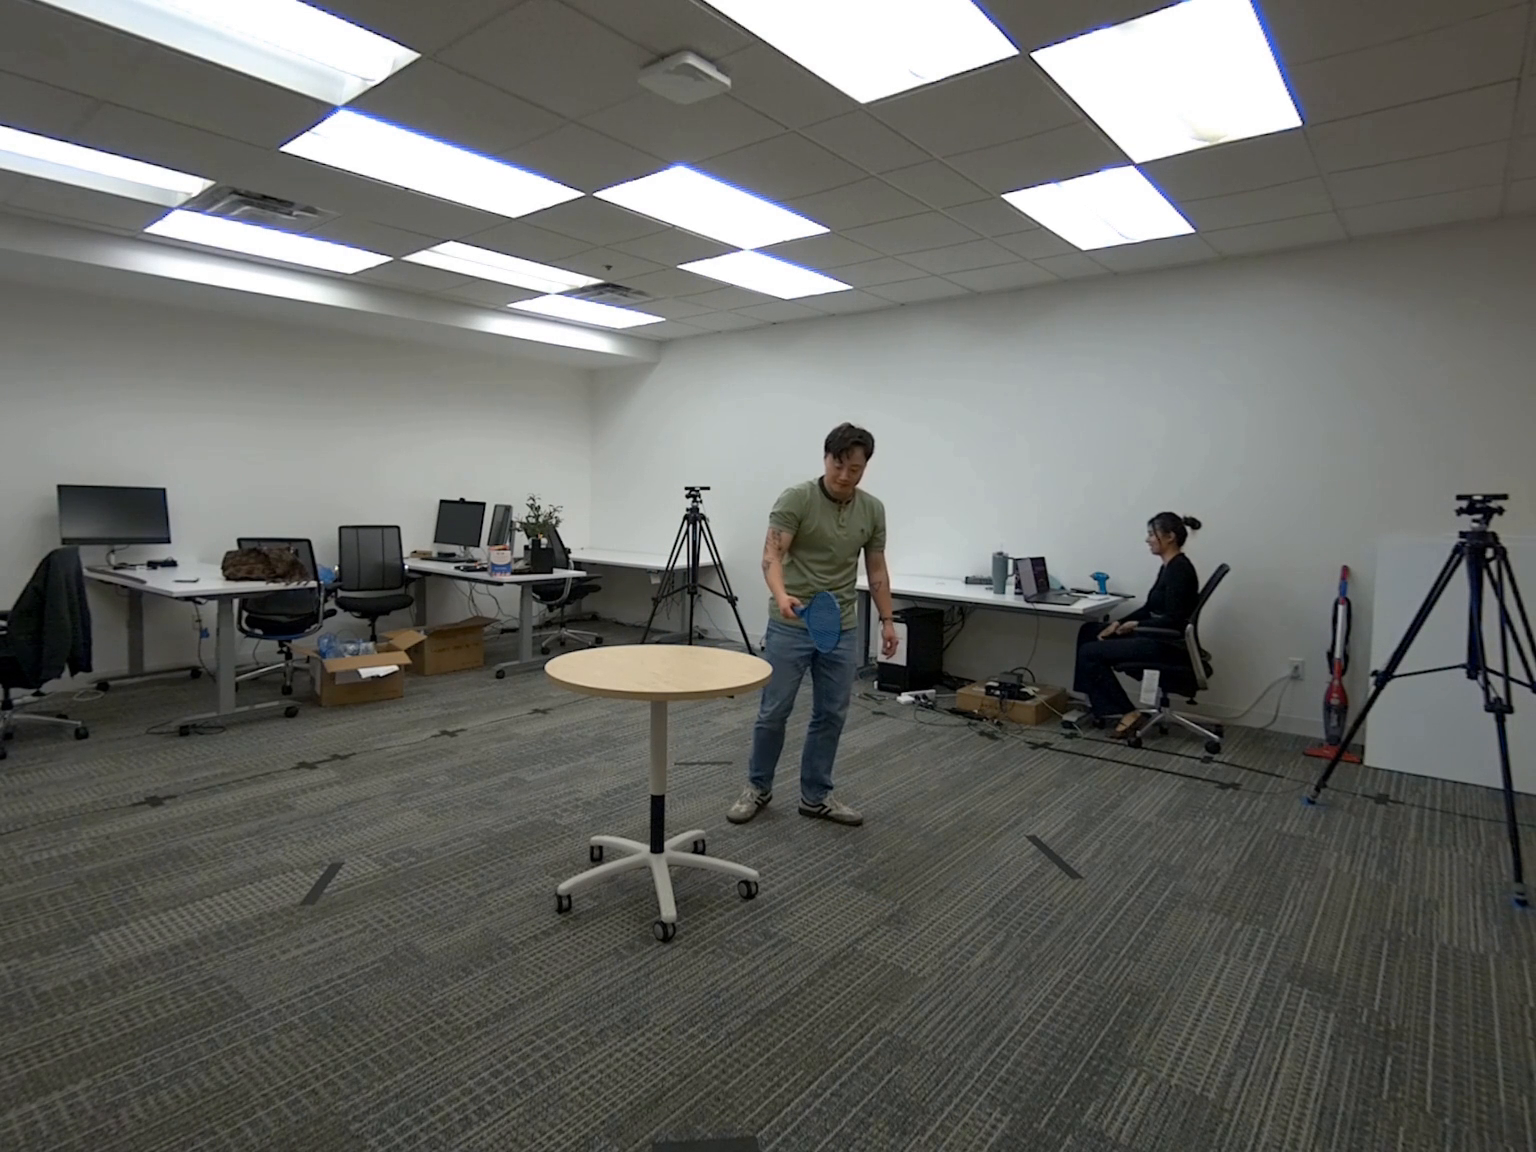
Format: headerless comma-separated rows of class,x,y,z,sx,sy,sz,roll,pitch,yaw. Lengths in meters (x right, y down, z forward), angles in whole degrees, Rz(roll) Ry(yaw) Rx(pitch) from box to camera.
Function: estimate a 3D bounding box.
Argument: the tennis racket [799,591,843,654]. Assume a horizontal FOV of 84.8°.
tennis racket,0.181,0.159,3.018,0.031,0.213,0.444,10,3,-23
